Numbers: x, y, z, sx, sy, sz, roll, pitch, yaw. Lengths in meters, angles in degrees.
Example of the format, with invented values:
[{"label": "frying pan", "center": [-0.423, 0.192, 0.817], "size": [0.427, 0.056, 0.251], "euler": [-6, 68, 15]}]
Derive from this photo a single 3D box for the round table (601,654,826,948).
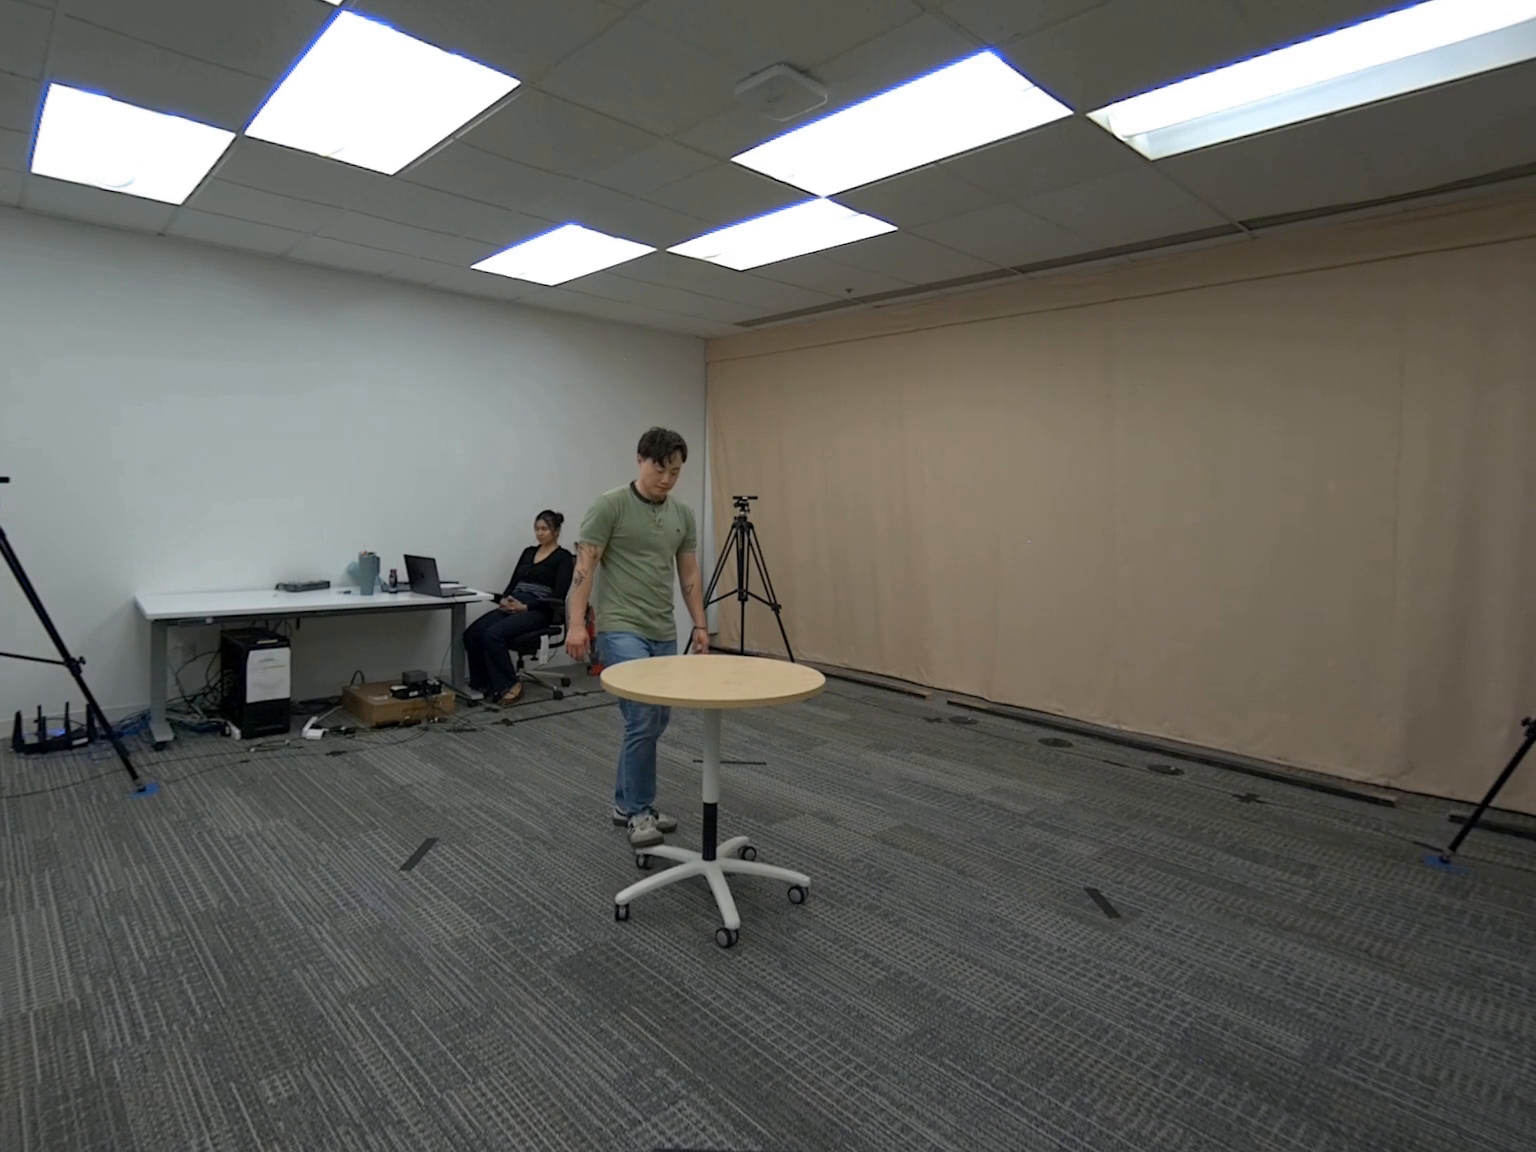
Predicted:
[{"label": "round table", "center": [-0.199, 0.733, 2.894], "size": [0.763, 0.792, 0.766], "euler": [1, 4, -1]}]
